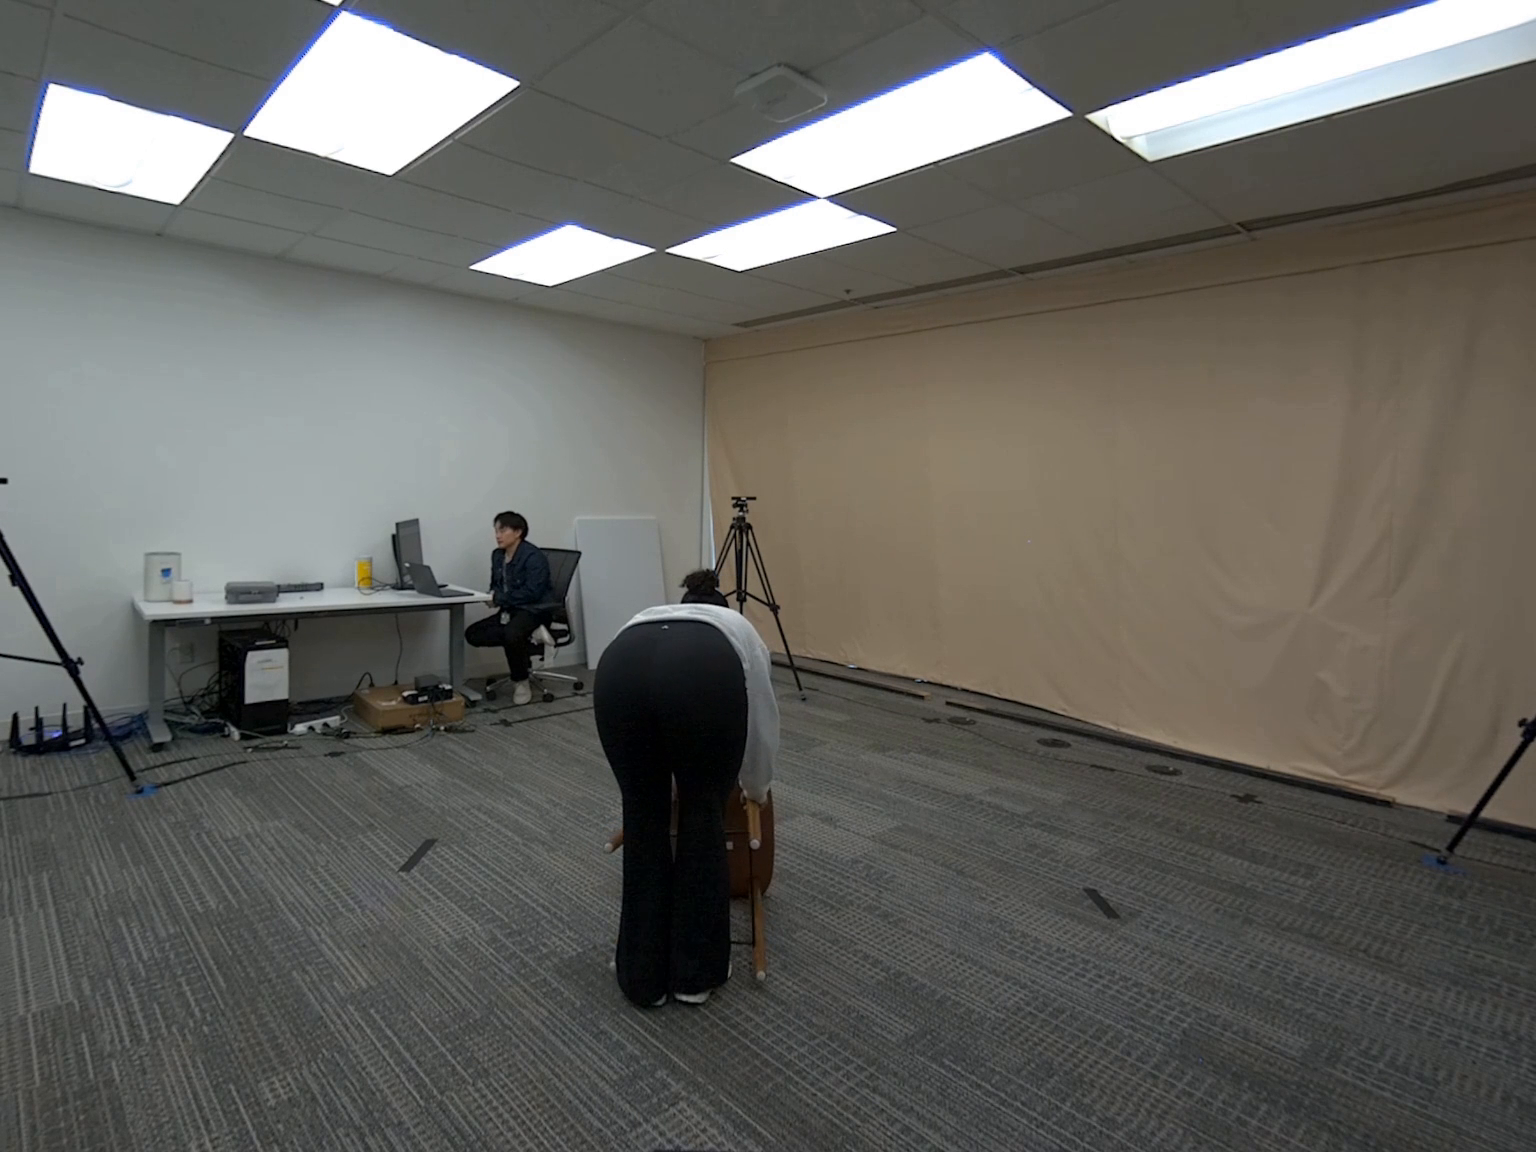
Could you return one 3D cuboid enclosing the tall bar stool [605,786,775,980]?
[{"bbox_3d":[-0.219,0.918,2.812,0.469,0.455,0.889,-2,5,3],"label":"tall bar stool"}]
